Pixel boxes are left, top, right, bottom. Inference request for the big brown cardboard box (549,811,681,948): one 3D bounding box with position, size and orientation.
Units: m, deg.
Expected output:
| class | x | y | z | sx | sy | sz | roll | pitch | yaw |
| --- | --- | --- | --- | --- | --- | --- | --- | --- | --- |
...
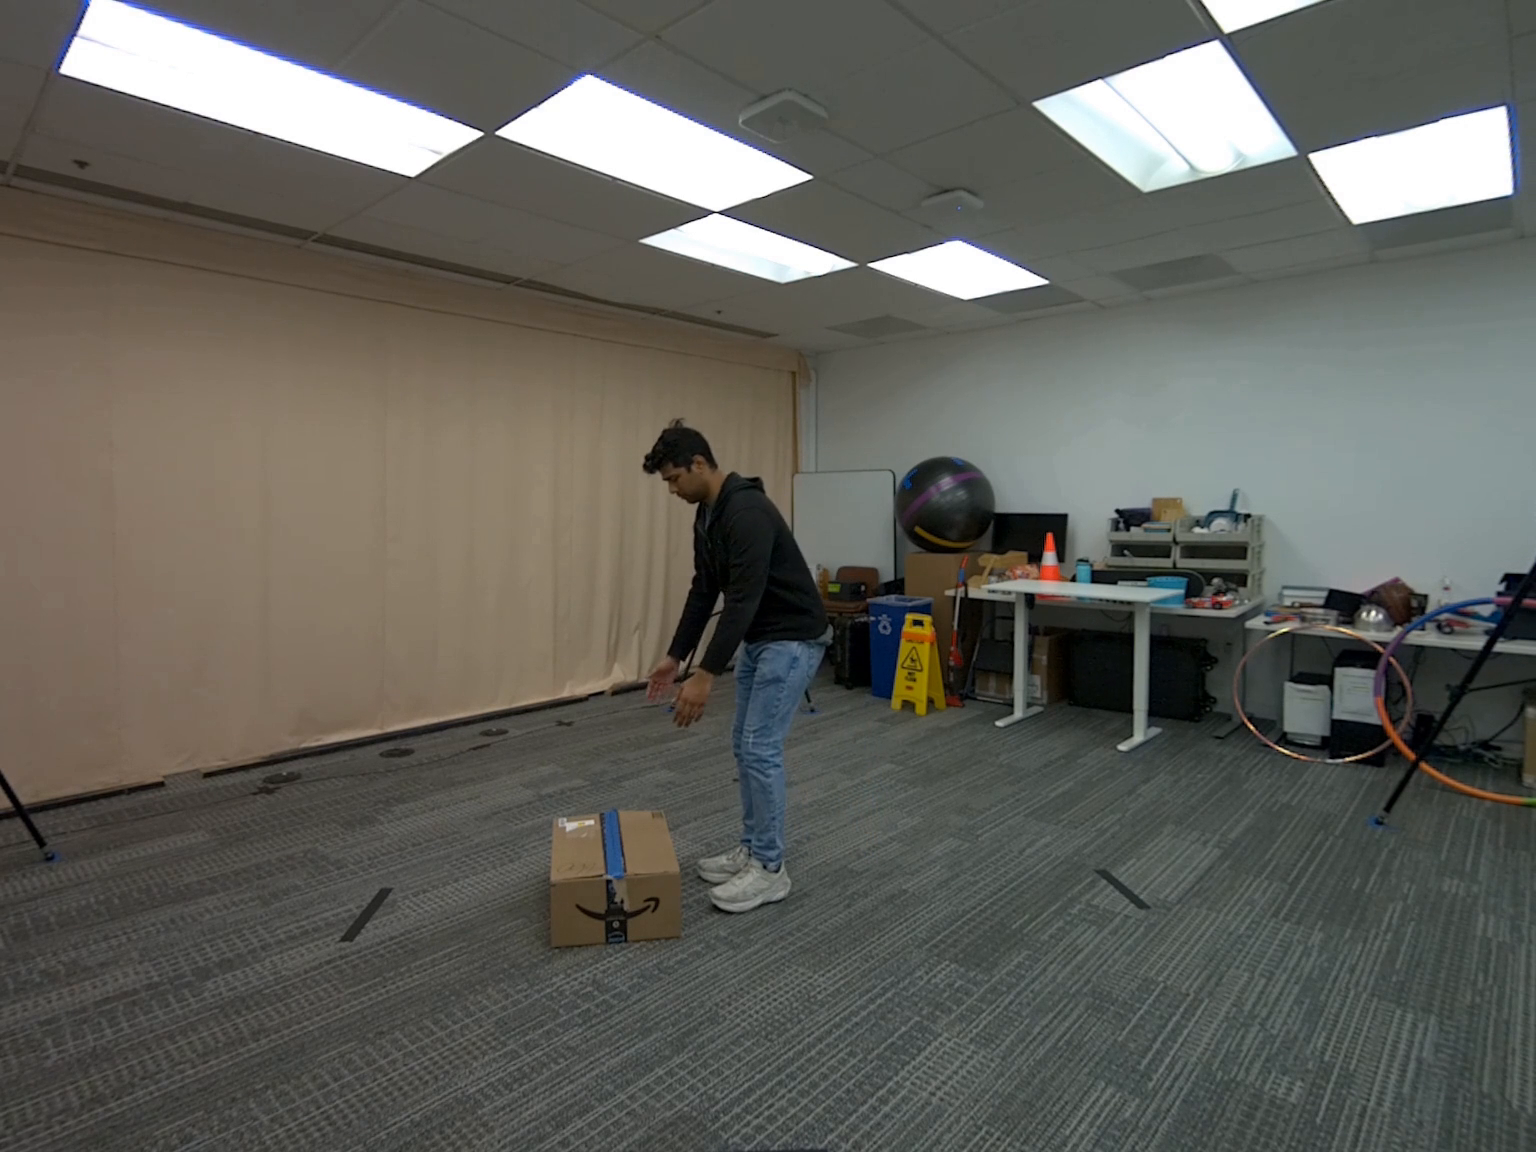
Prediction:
| class | x | y | z | sx | sy | sz | roll | pitch | yaw |
| --- | --- | --- | --- | --- | --- | --- | --- | --- | --- |
| big brown cardboard box | -0.543 | 1.036 | 2.960 | 0.413 | 0.232 | 0.598 | -1 | 6 | -12 |
